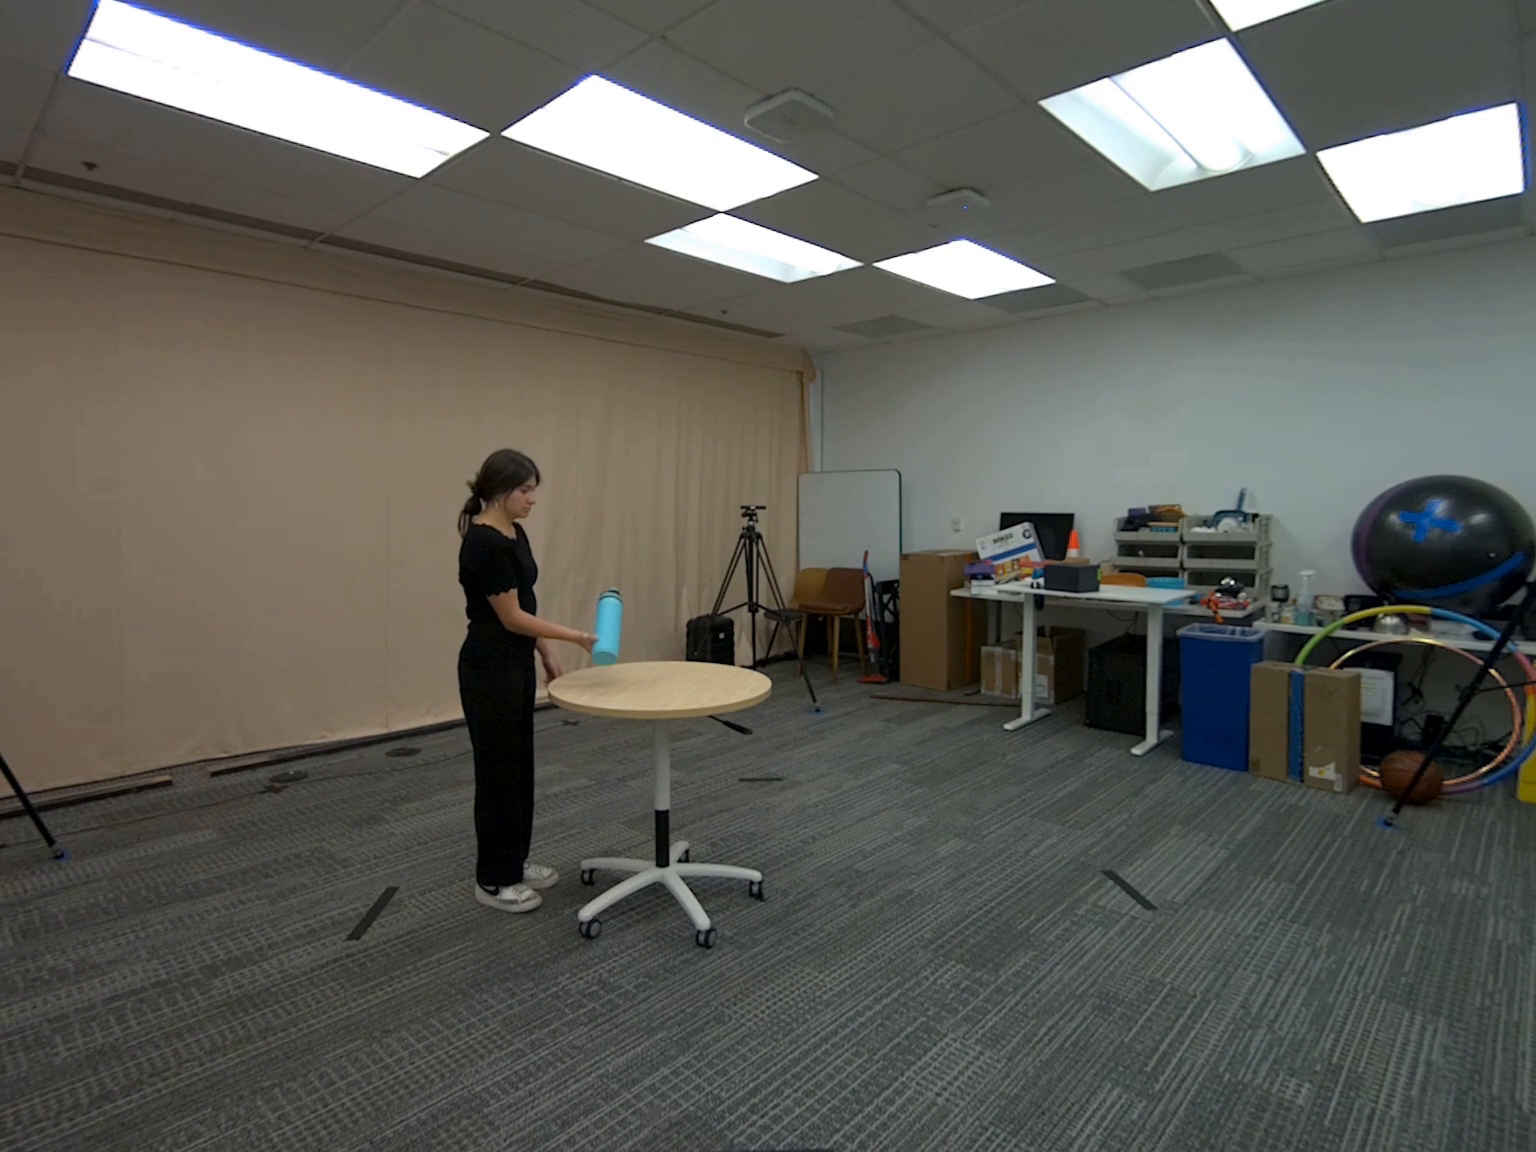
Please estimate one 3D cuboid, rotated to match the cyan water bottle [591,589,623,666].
[{"bbox_3d":[-0.549,0.164,2.868,0.092,0.289,0.091,-3,-39,-4],"label":"cyan water bottle"}]
